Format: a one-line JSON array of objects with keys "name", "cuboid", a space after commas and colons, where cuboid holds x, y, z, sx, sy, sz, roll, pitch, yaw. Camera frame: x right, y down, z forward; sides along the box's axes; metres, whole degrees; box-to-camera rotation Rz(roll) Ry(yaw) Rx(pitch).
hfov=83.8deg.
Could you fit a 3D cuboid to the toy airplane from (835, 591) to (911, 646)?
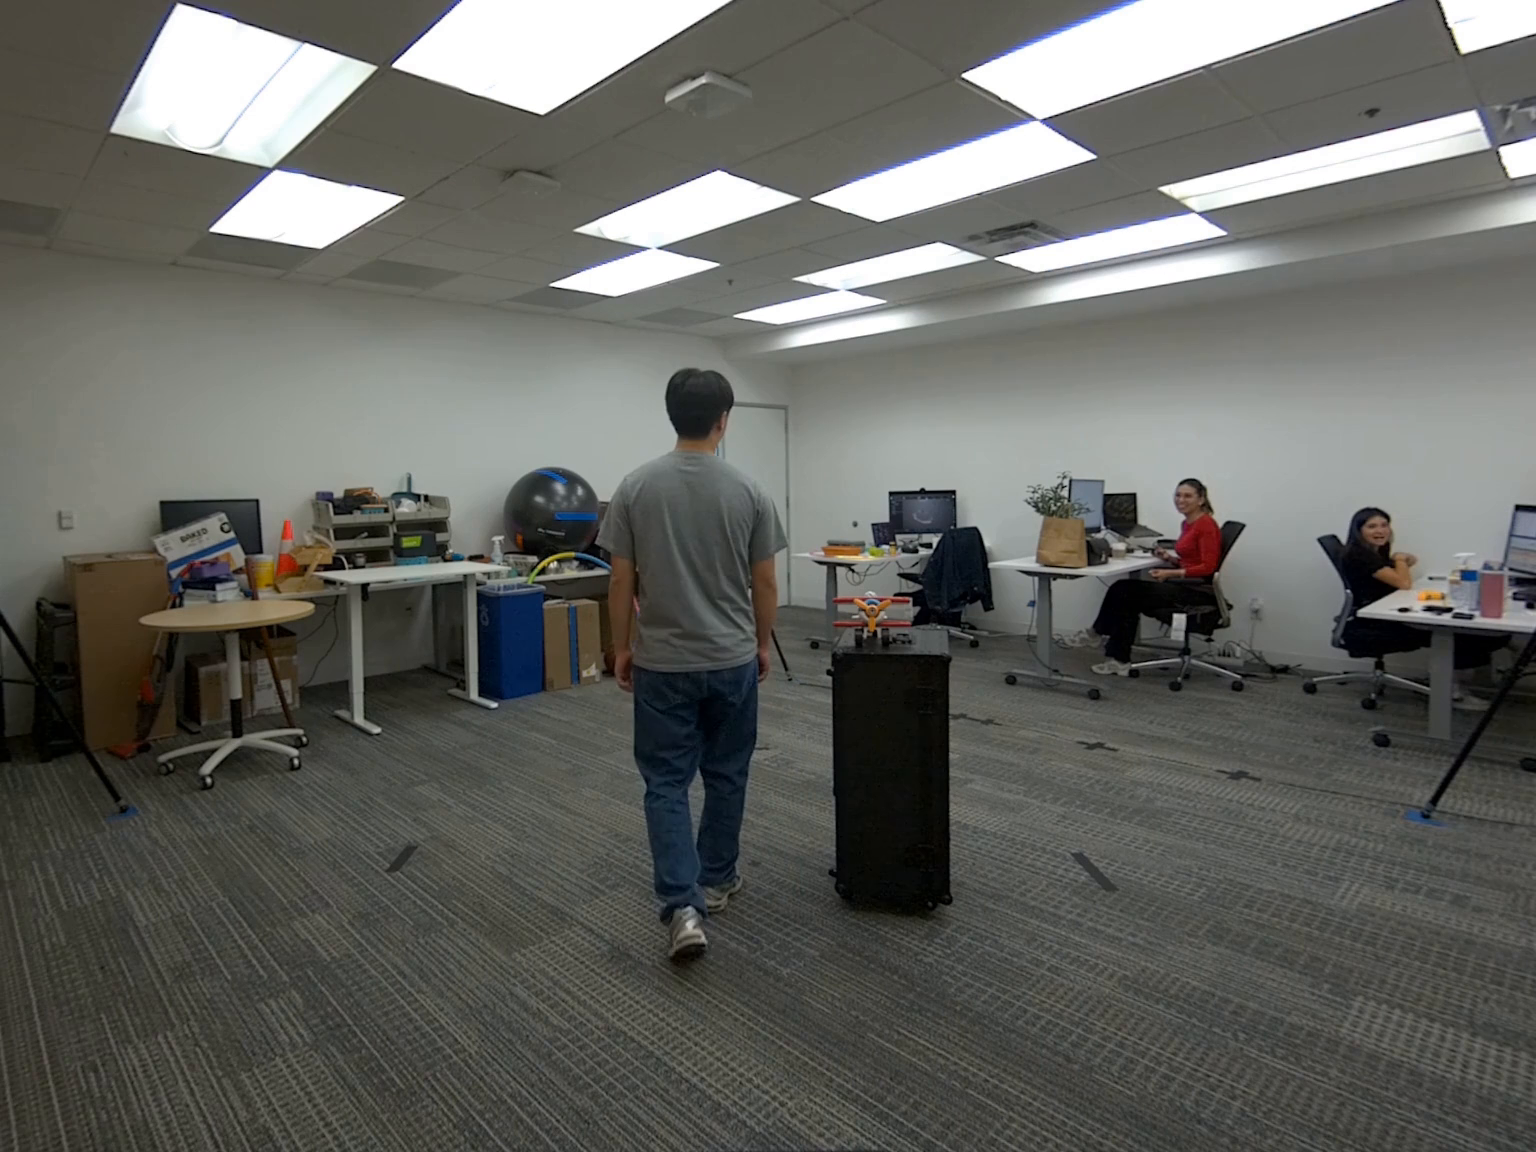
[{"name": "toy airplane", "cuboid": [0.333, 0.137, 2.863, 0.246, 0.155, 0.266, -3, 8, -23]}]
